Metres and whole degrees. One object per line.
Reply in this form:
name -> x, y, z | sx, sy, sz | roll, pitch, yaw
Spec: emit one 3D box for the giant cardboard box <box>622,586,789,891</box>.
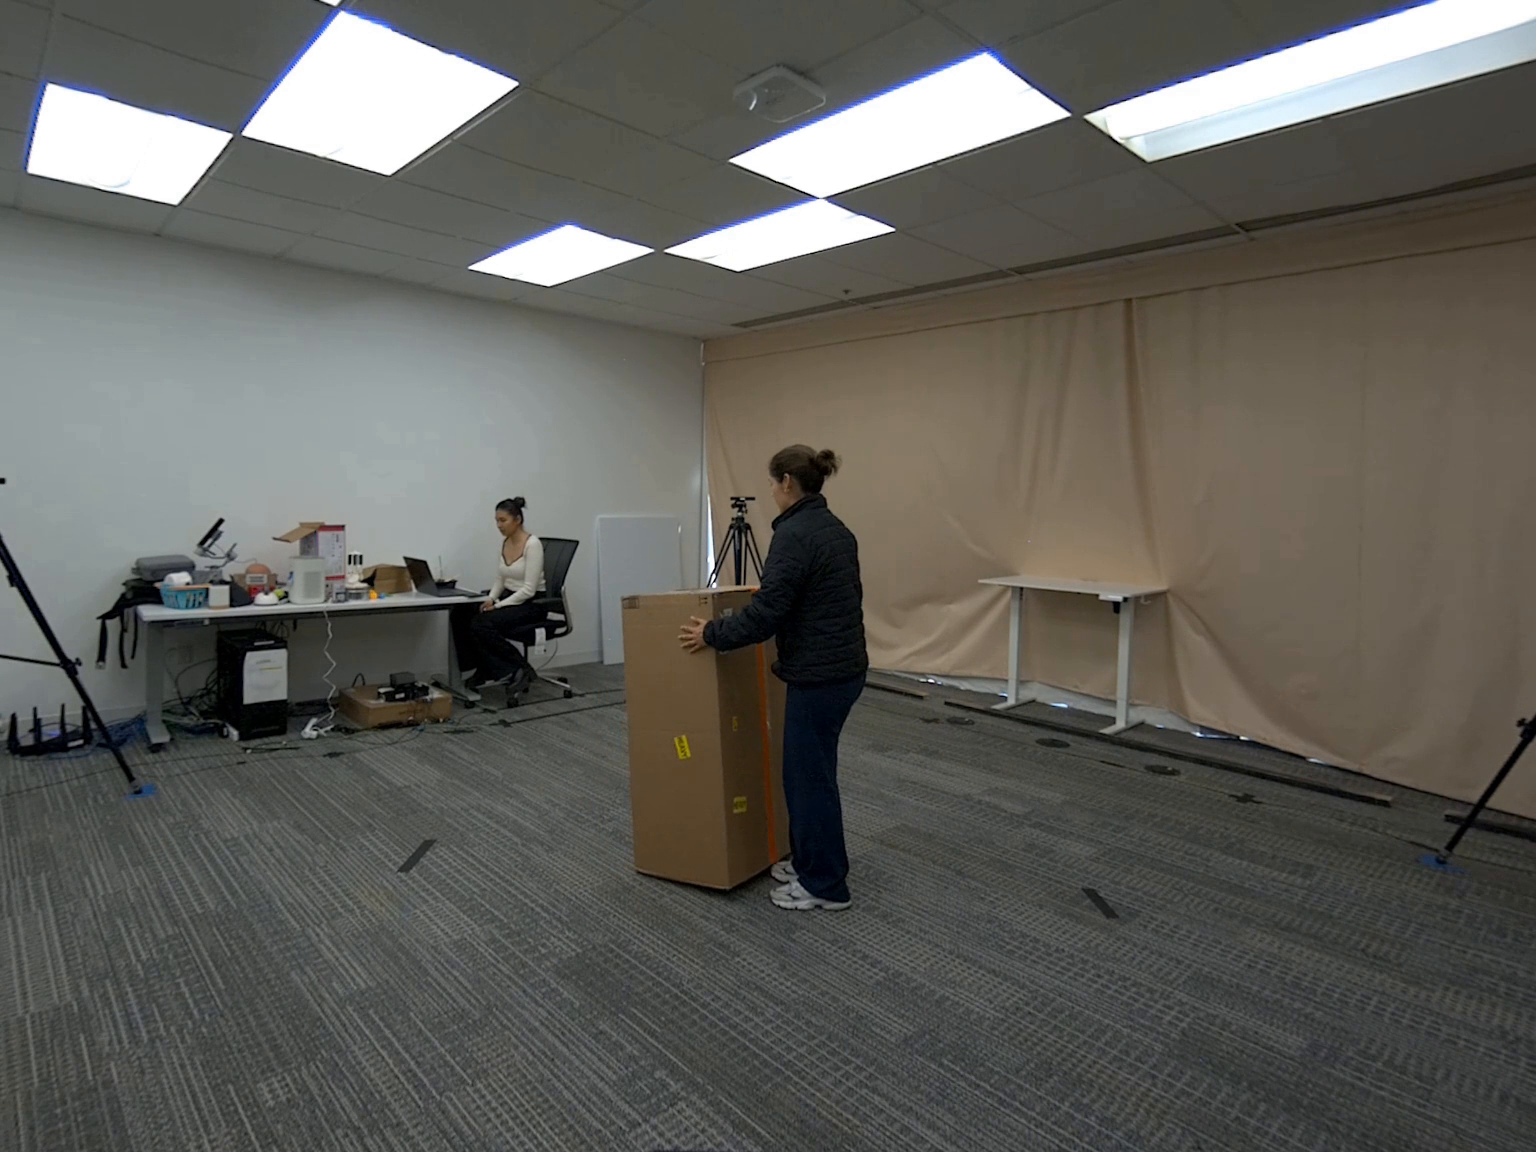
giant cardboard box -> -0.197, 0.568, 3.239 | 0.435, 1.027, 0.565 | -5, -1, 32
